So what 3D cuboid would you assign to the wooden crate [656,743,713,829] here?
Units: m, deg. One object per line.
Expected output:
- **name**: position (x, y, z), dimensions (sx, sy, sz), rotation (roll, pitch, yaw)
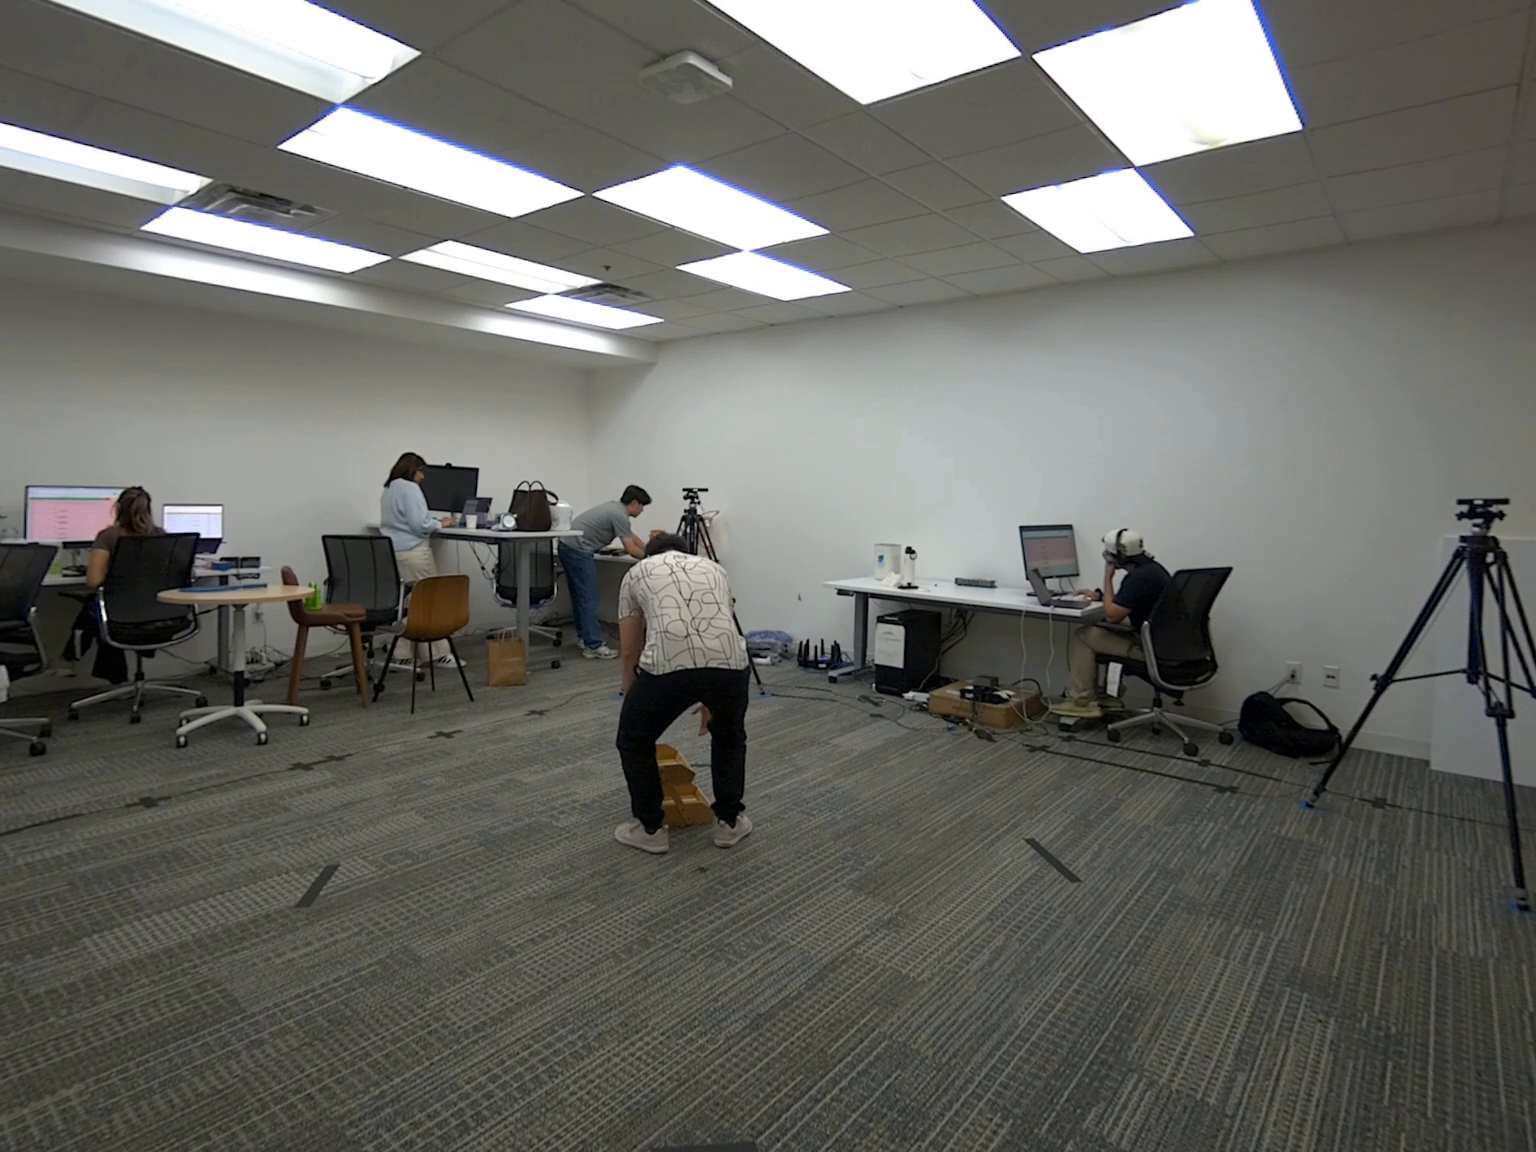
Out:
- **wooden crate**: position (-0.412, 0.881, 3.654), dimensions (0.297, 0.272, 0.331), rotation (-2, 5, -18)
